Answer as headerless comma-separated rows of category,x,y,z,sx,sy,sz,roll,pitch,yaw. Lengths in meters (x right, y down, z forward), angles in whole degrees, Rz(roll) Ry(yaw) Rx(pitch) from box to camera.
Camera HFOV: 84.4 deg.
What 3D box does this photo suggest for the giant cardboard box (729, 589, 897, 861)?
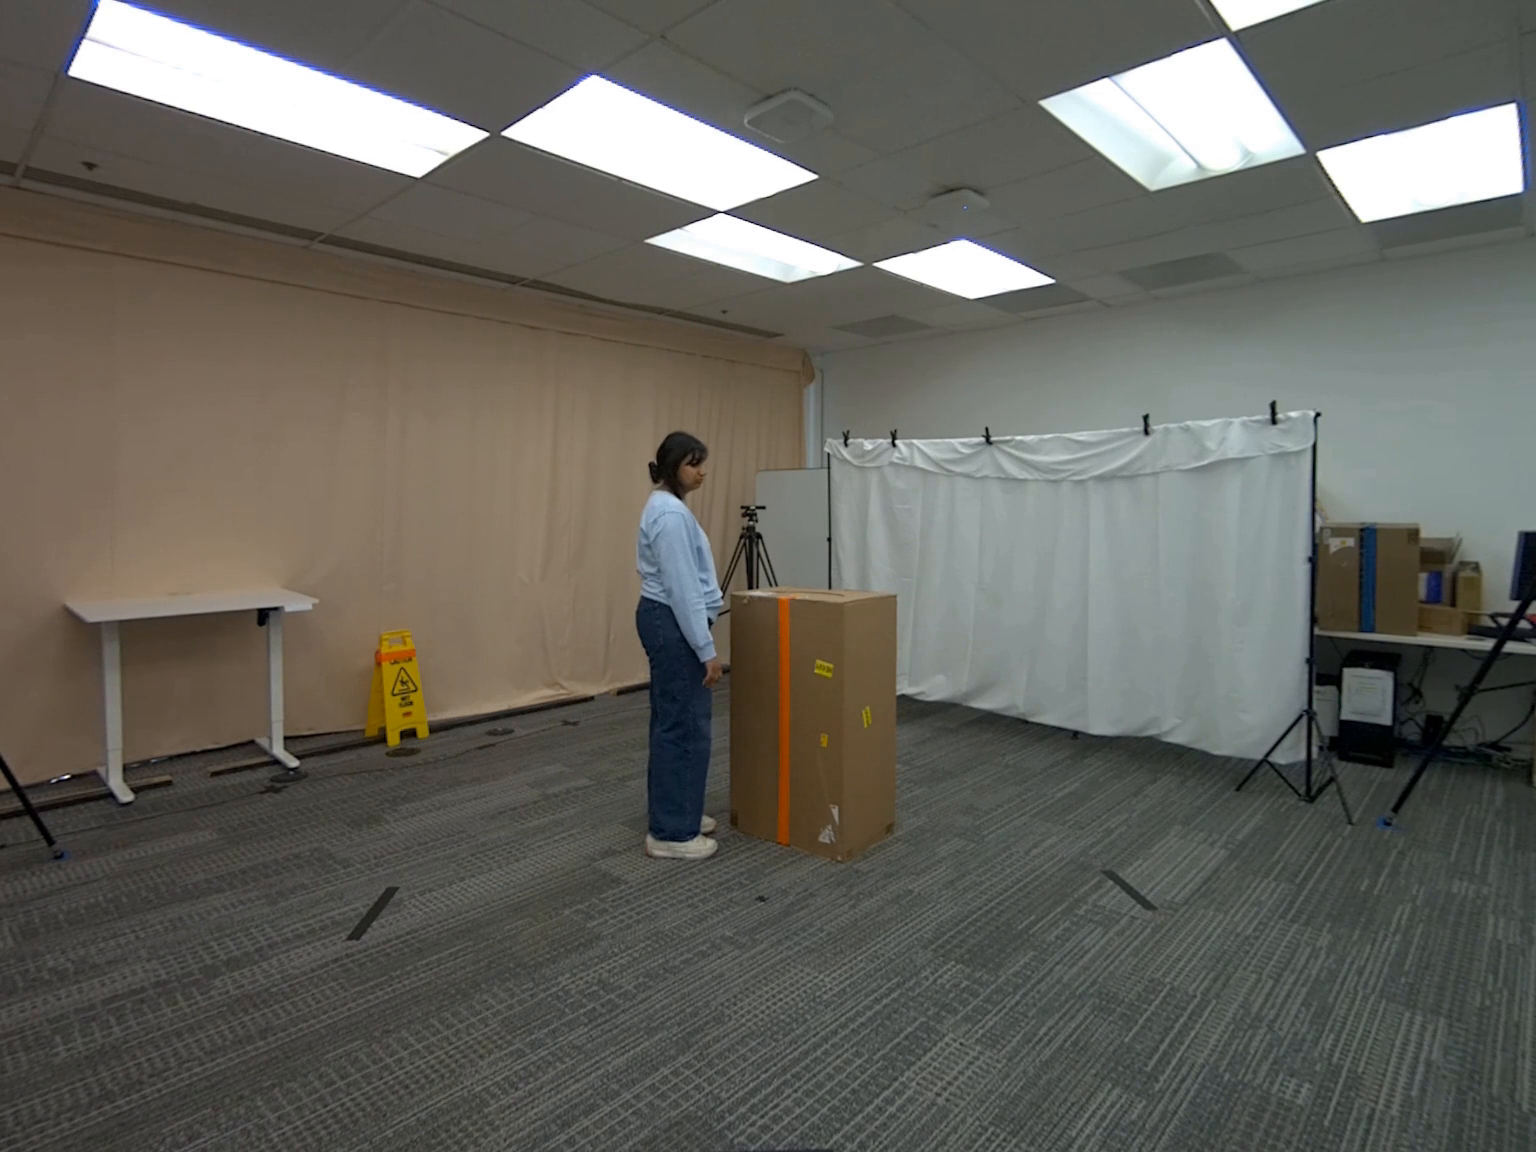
giant cardboard box,0.191,0.581,3.590,0.603,1.025,0.433,2,4,39
